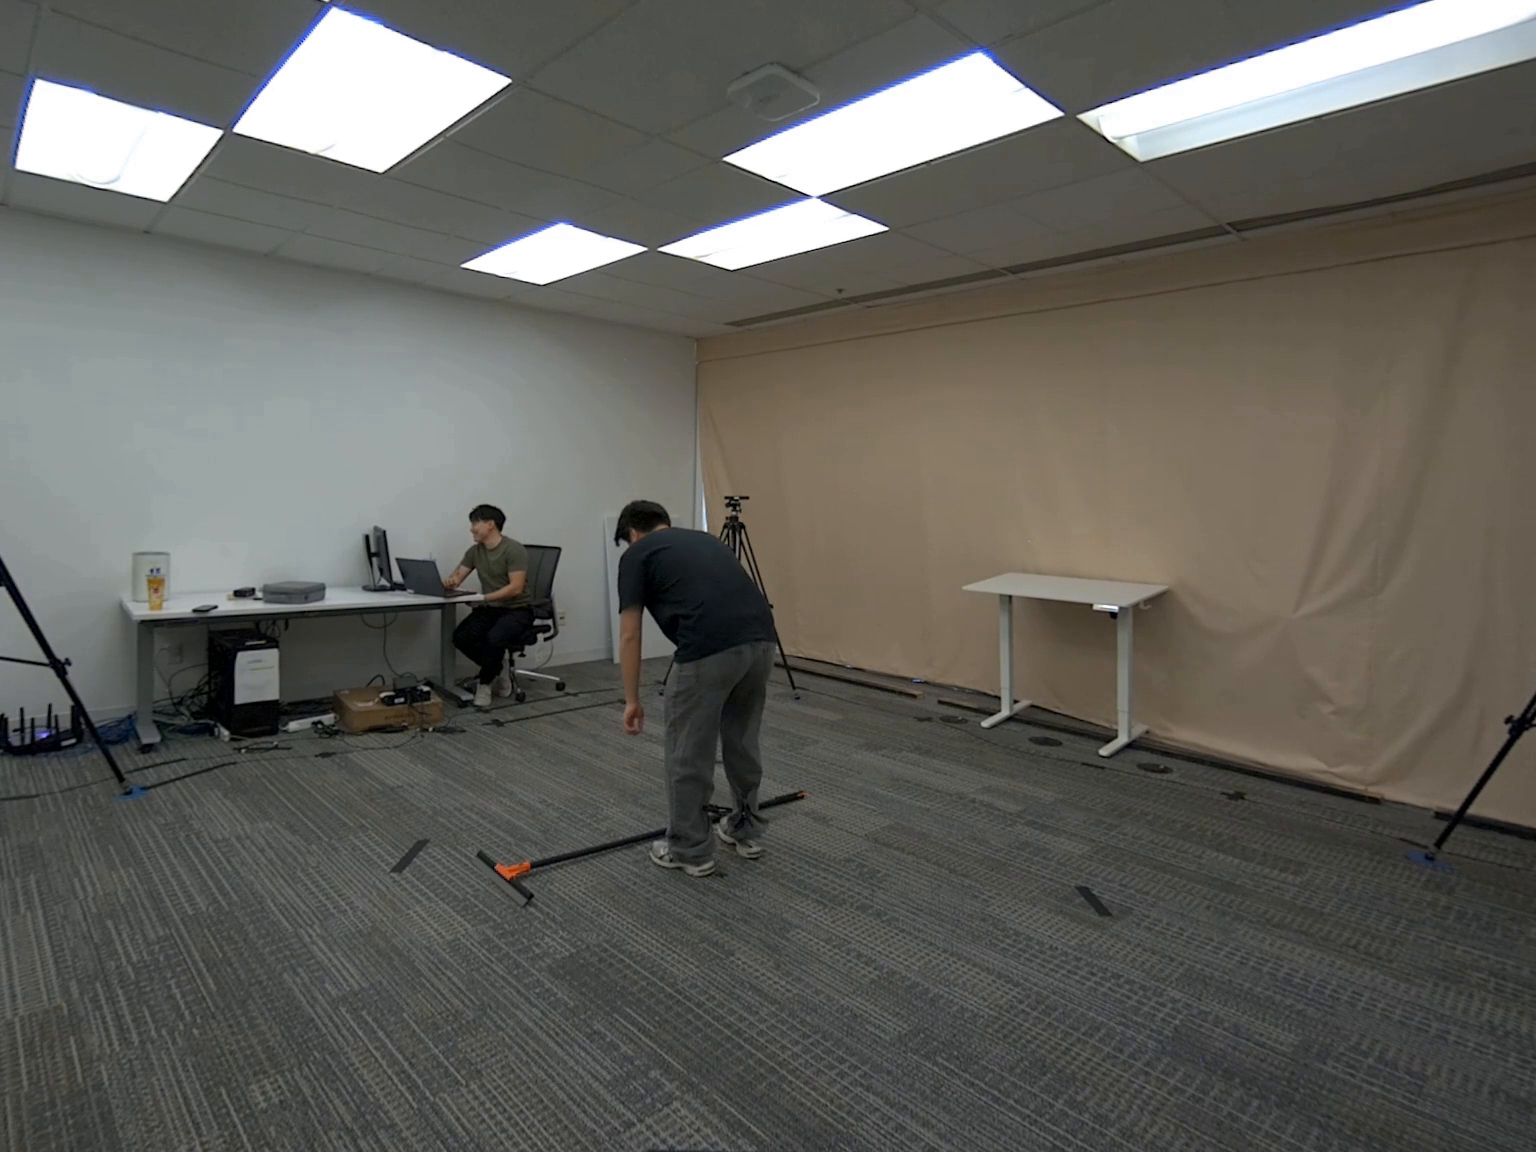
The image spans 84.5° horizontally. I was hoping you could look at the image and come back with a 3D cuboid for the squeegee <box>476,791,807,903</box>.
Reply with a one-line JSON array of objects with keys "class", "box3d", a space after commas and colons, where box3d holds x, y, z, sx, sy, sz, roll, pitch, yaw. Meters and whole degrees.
[{"class": "squeegee", "box3d": [-0.401, 1.036, 3.472, 1.502, 0.053, 0.449, -2, 6, -40]}]
